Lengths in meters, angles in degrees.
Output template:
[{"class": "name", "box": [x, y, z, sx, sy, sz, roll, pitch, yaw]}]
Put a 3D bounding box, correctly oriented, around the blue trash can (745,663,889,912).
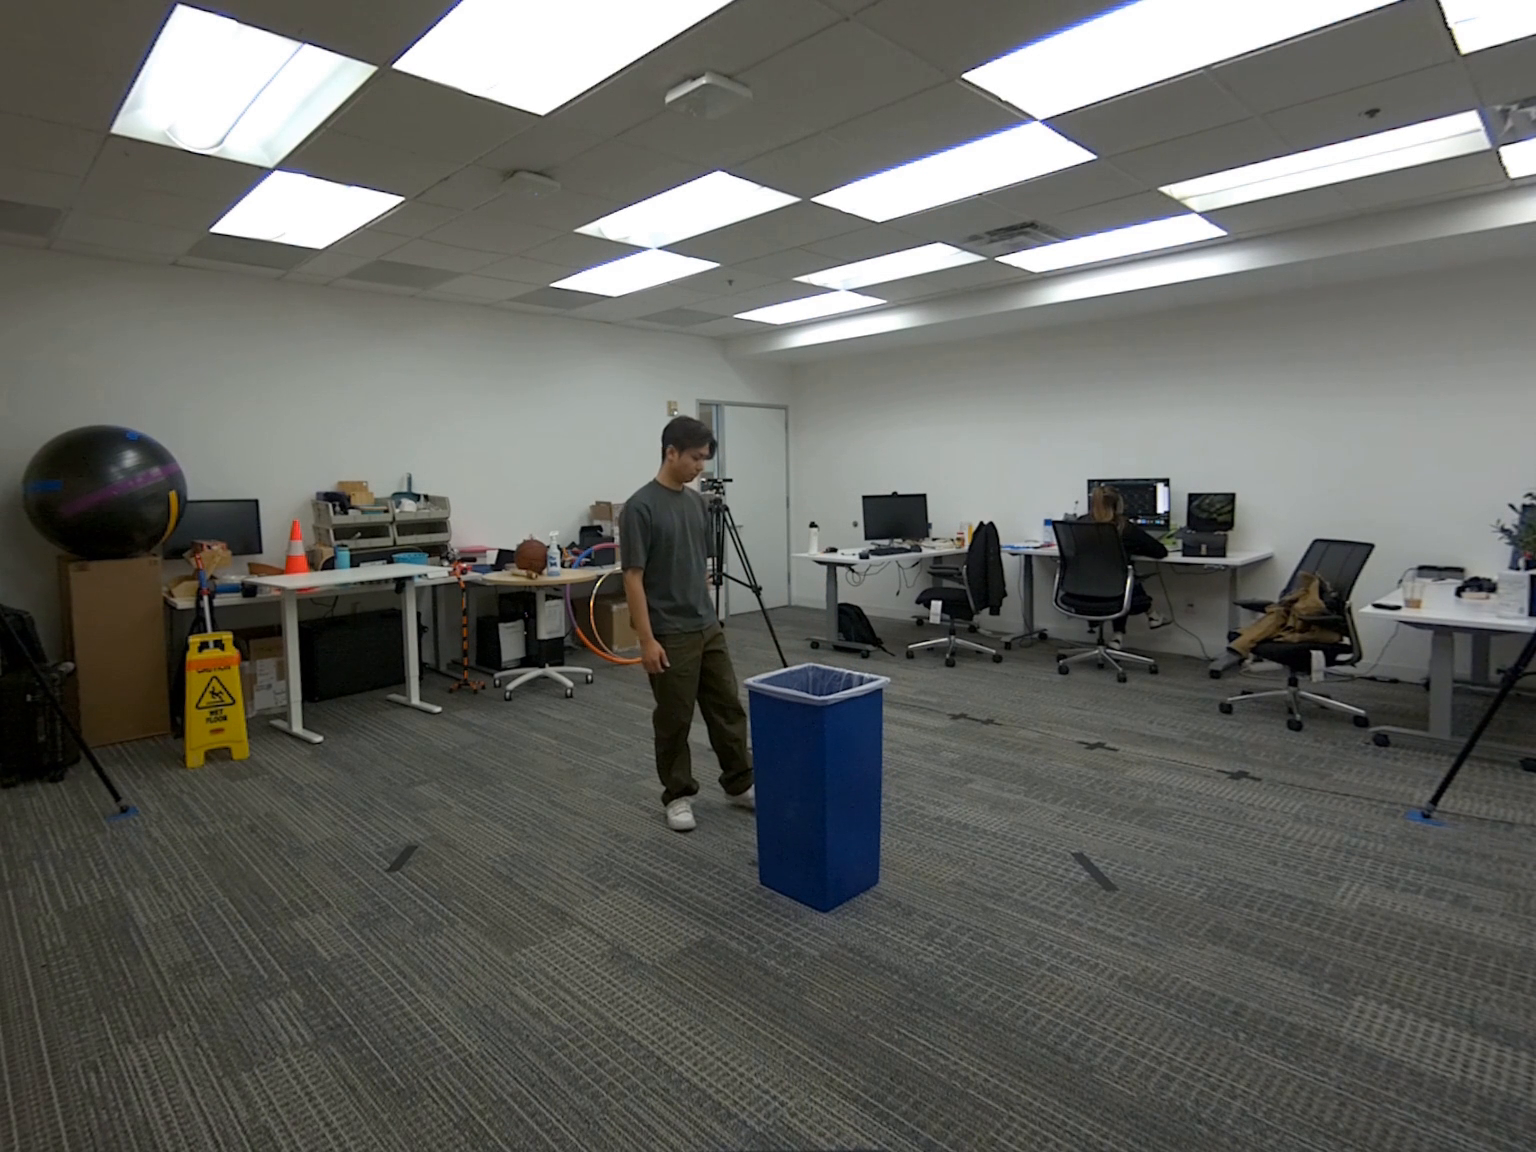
[{"class": "blue trash can", "box": [0.180, 0.704, 2.924, 0.385, 0.711, 0.368, 2, 5, 44]}]
